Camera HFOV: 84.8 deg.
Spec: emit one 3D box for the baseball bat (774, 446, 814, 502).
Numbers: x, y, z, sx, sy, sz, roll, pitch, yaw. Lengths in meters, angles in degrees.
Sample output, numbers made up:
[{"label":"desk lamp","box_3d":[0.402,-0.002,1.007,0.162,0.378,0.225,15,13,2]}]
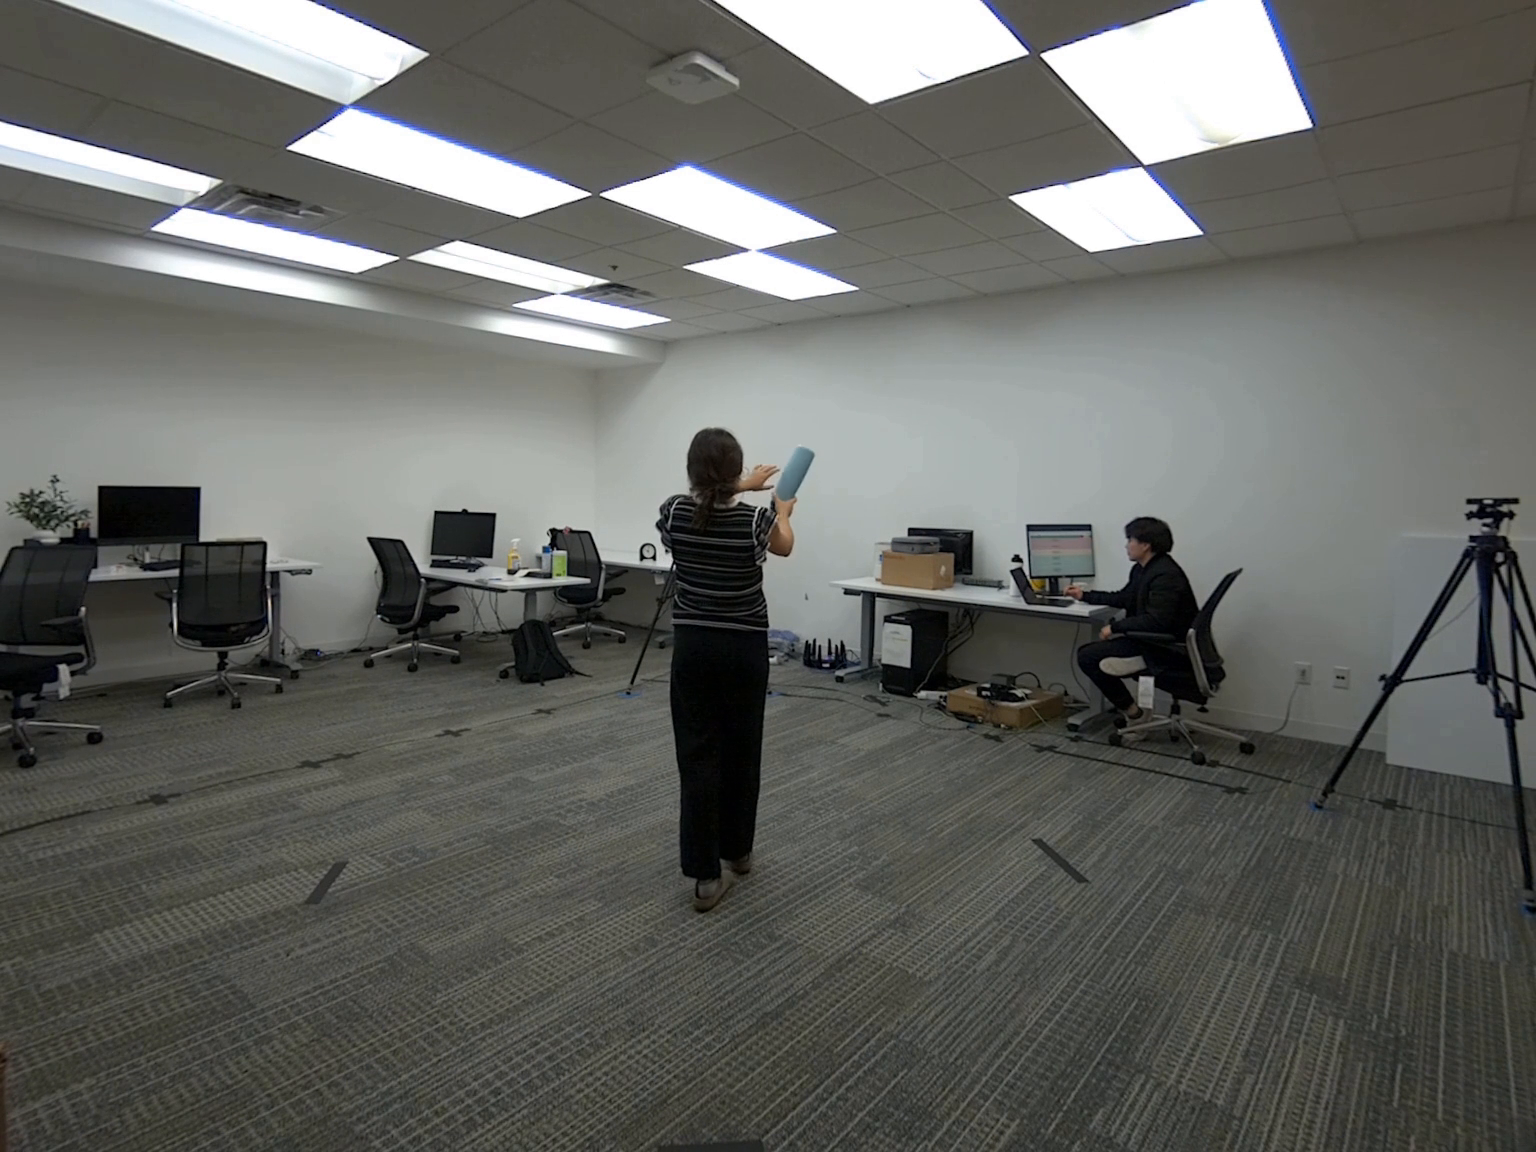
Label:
[{"label":"baseball bat","box_3d":[0.027,-0.274,3.402,0.089,0.543,0.089,27,0,-2]}]
